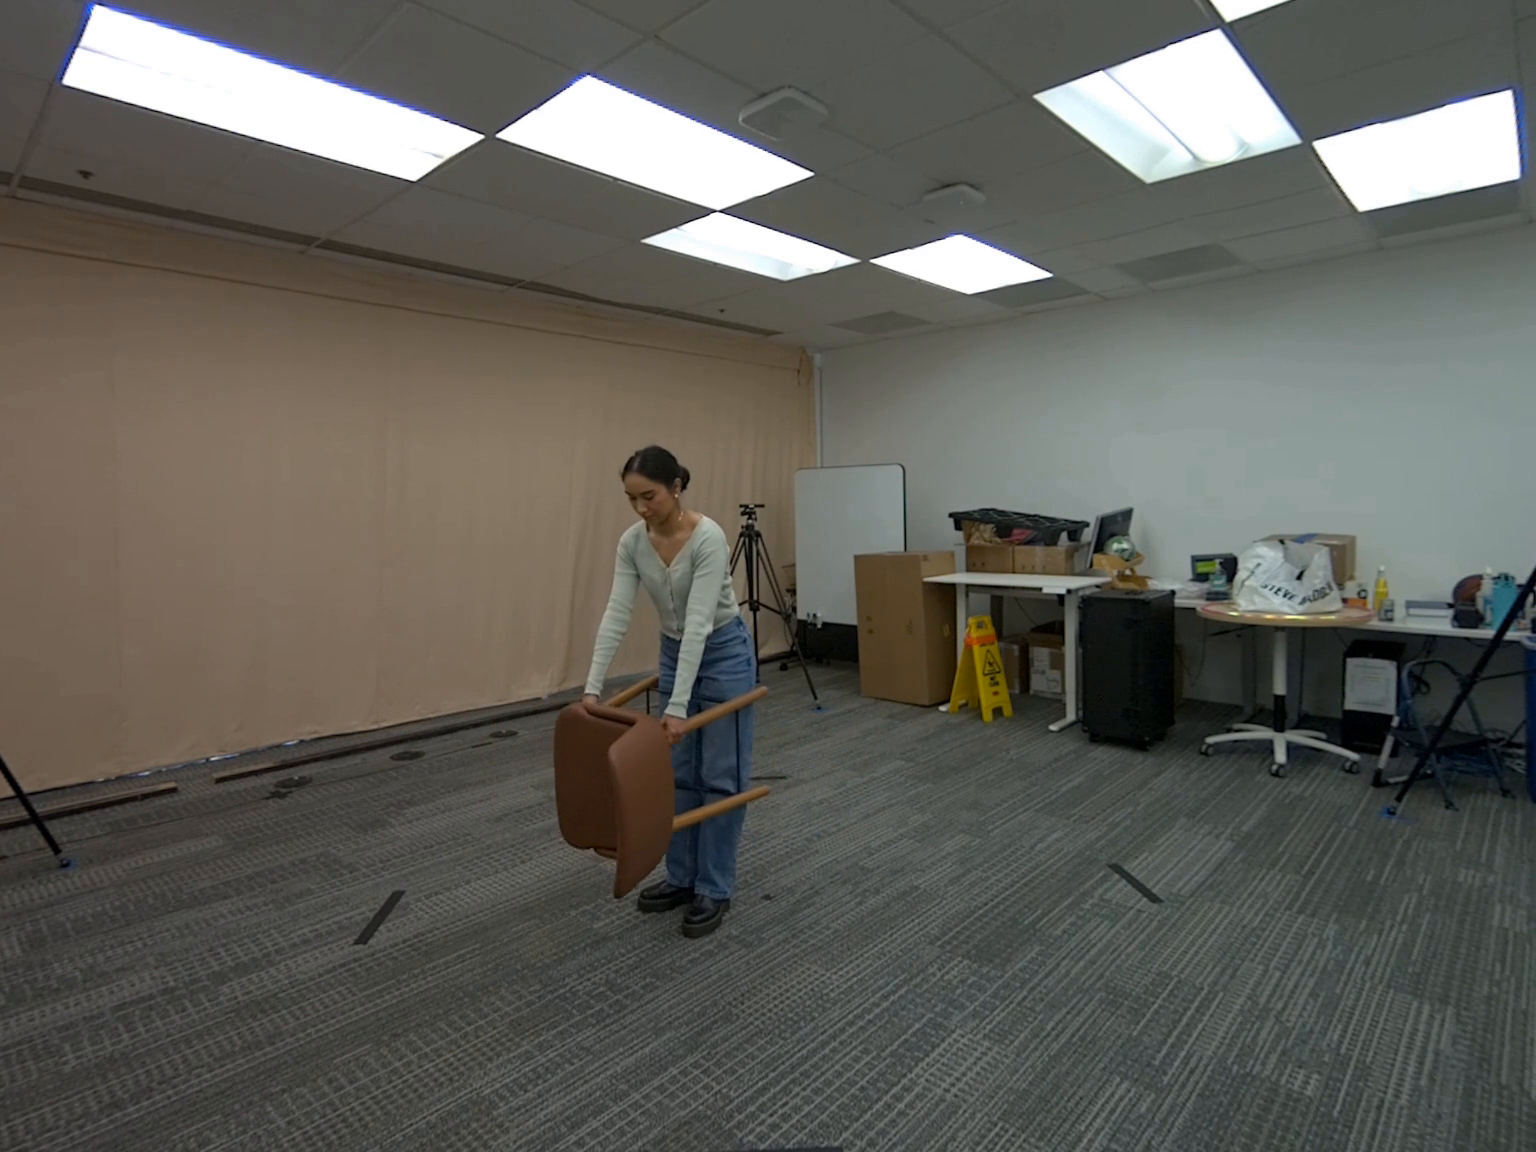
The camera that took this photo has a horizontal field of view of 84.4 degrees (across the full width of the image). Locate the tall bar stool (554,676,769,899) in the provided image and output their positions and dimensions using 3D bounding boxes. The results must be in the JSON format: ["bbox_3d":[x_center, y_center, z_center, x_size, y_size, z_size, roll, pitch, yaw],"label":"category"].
[{"bbox_3d":[-0.387,0.603,2.637,0.480,0.455,0.869,2,7,27],"label":"tall bar stool"}]
